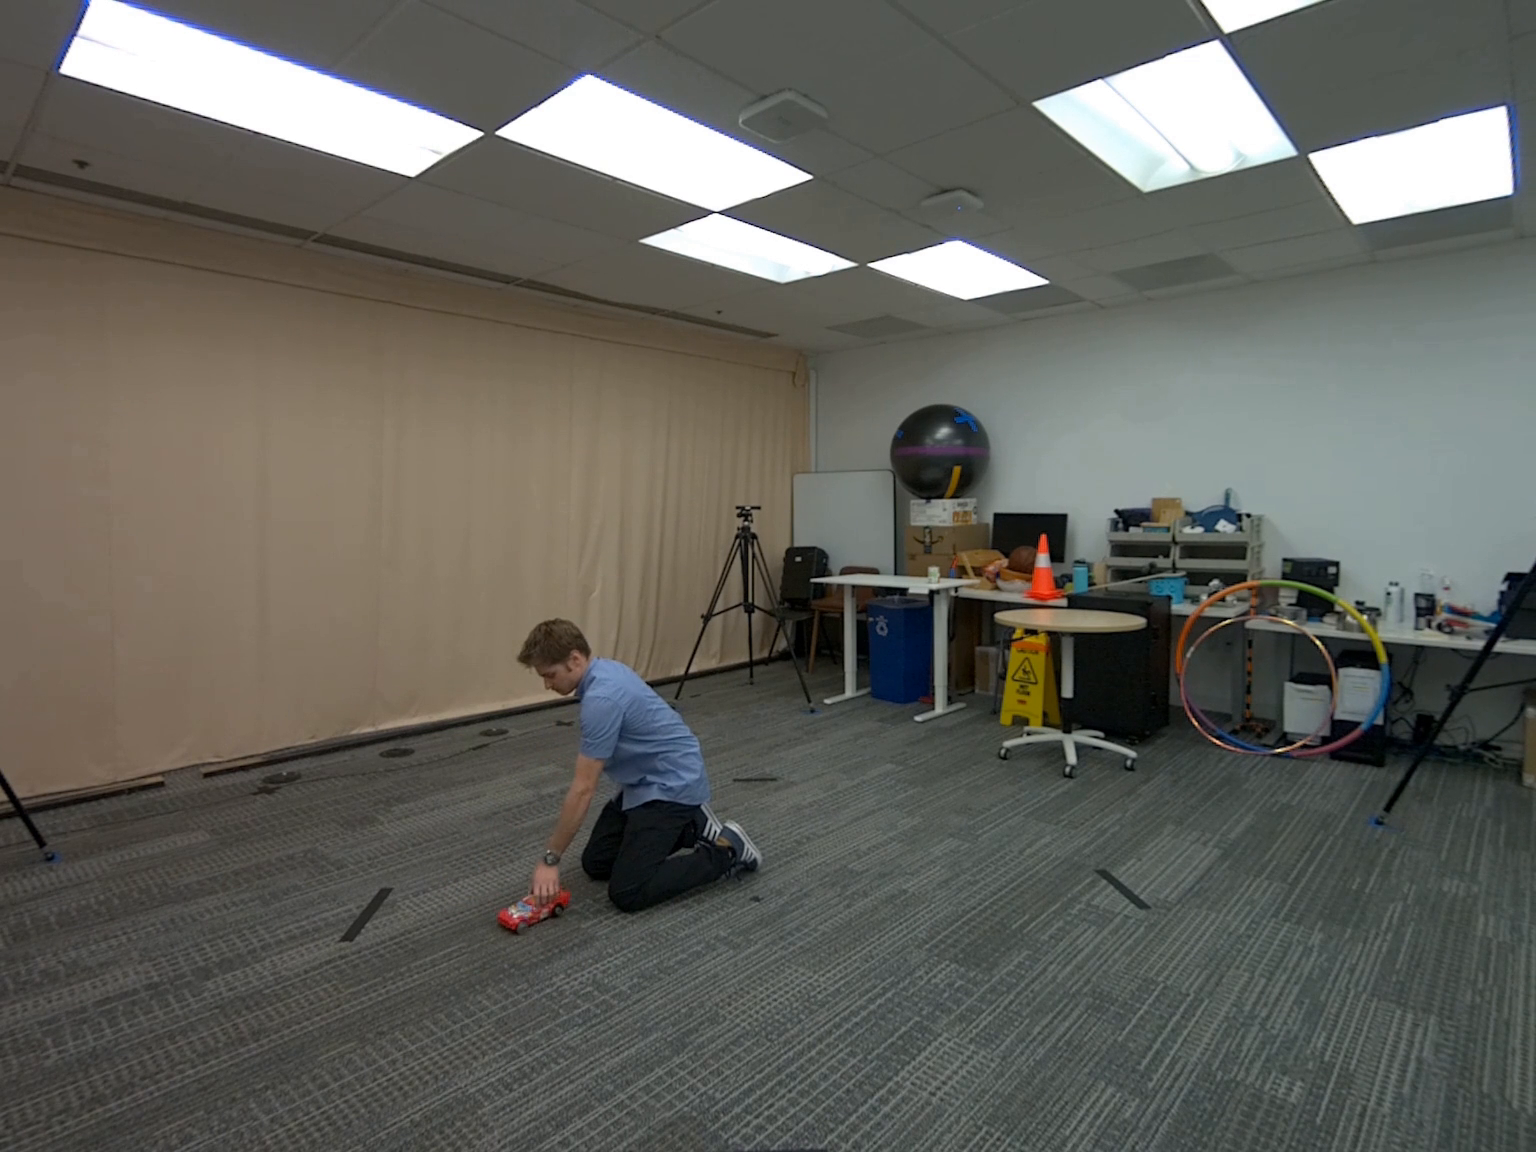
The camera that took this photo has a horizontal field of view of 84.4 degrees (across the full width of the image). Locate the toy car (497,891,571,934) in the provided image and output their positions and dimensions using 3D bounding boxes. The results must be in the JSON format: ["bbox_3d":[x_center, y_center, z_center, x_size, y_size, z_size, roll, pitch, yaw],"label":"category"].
[{"bbox_3d":[-0.793,1.133,2.857,0.134,0.082,0.248,3,16,40],"label":"toy car"}]
